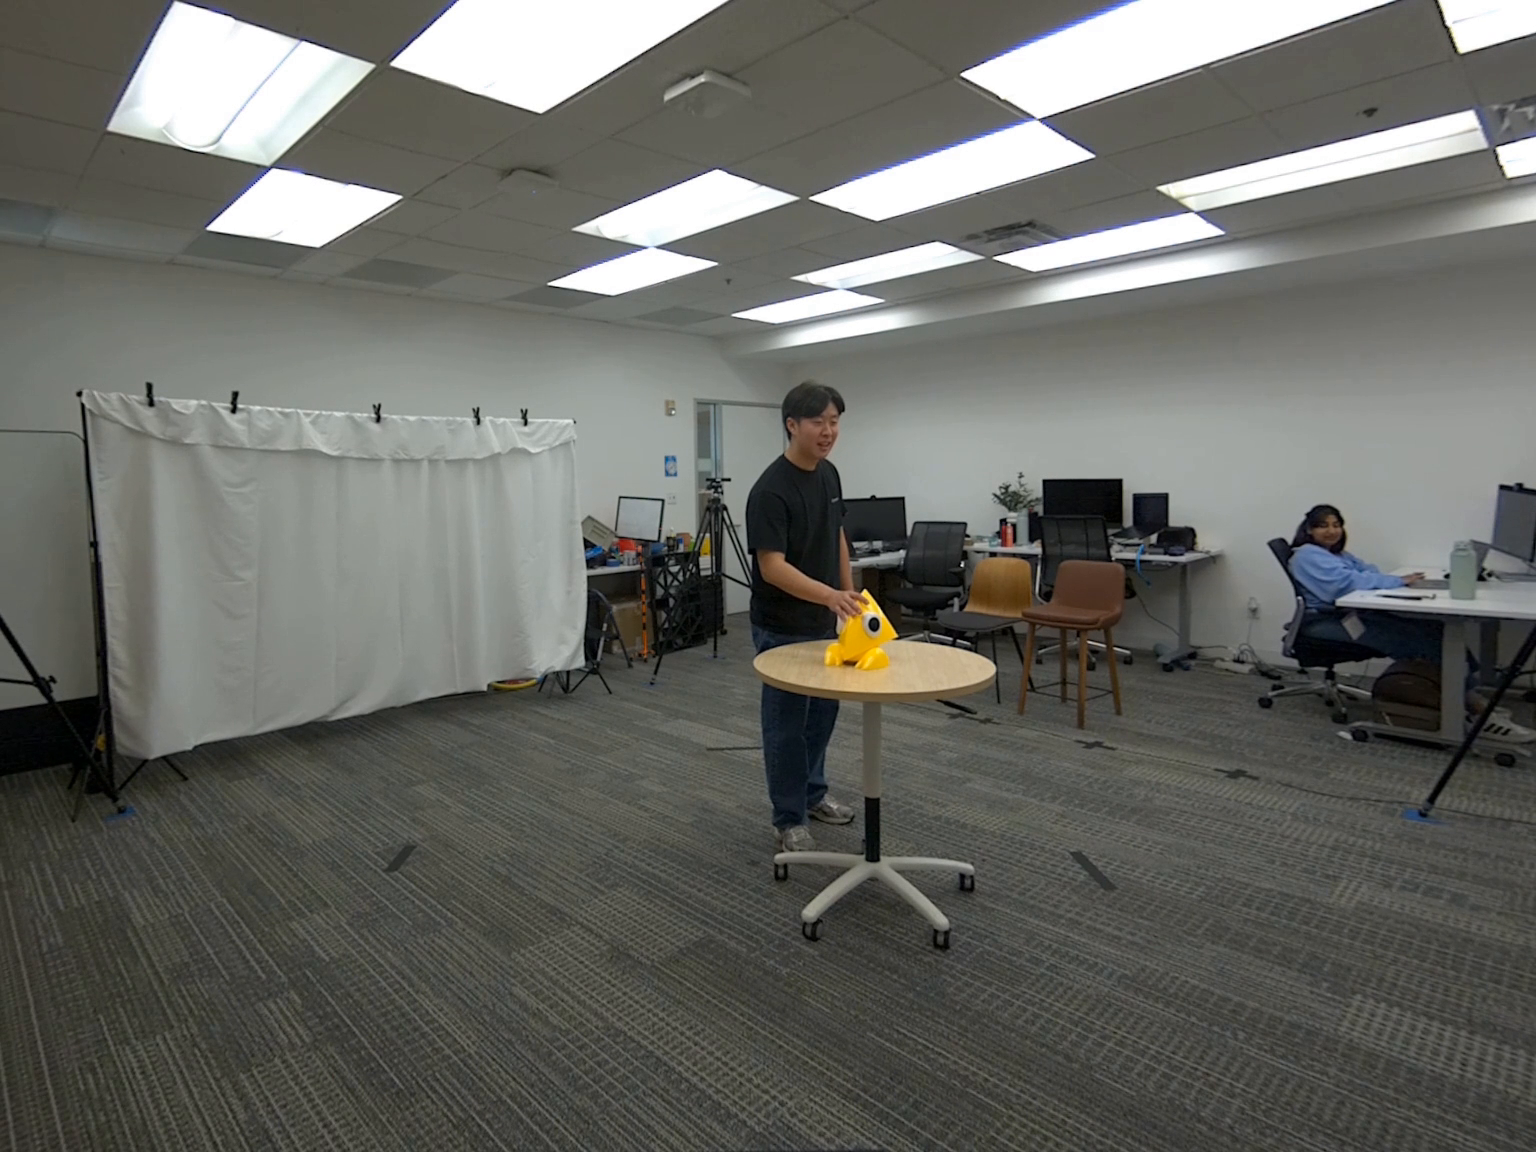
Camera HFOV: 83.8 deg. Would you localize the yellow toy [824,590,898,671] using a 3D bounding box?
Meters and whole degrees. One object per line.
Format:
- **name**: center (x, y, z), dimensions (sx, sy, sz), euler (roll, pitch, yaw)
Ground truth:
- **yellow toy**: center (0.290, 0.170, 2.750), dimensions (0.210, 0.230, 0.188), euler (3, 6, 33)
